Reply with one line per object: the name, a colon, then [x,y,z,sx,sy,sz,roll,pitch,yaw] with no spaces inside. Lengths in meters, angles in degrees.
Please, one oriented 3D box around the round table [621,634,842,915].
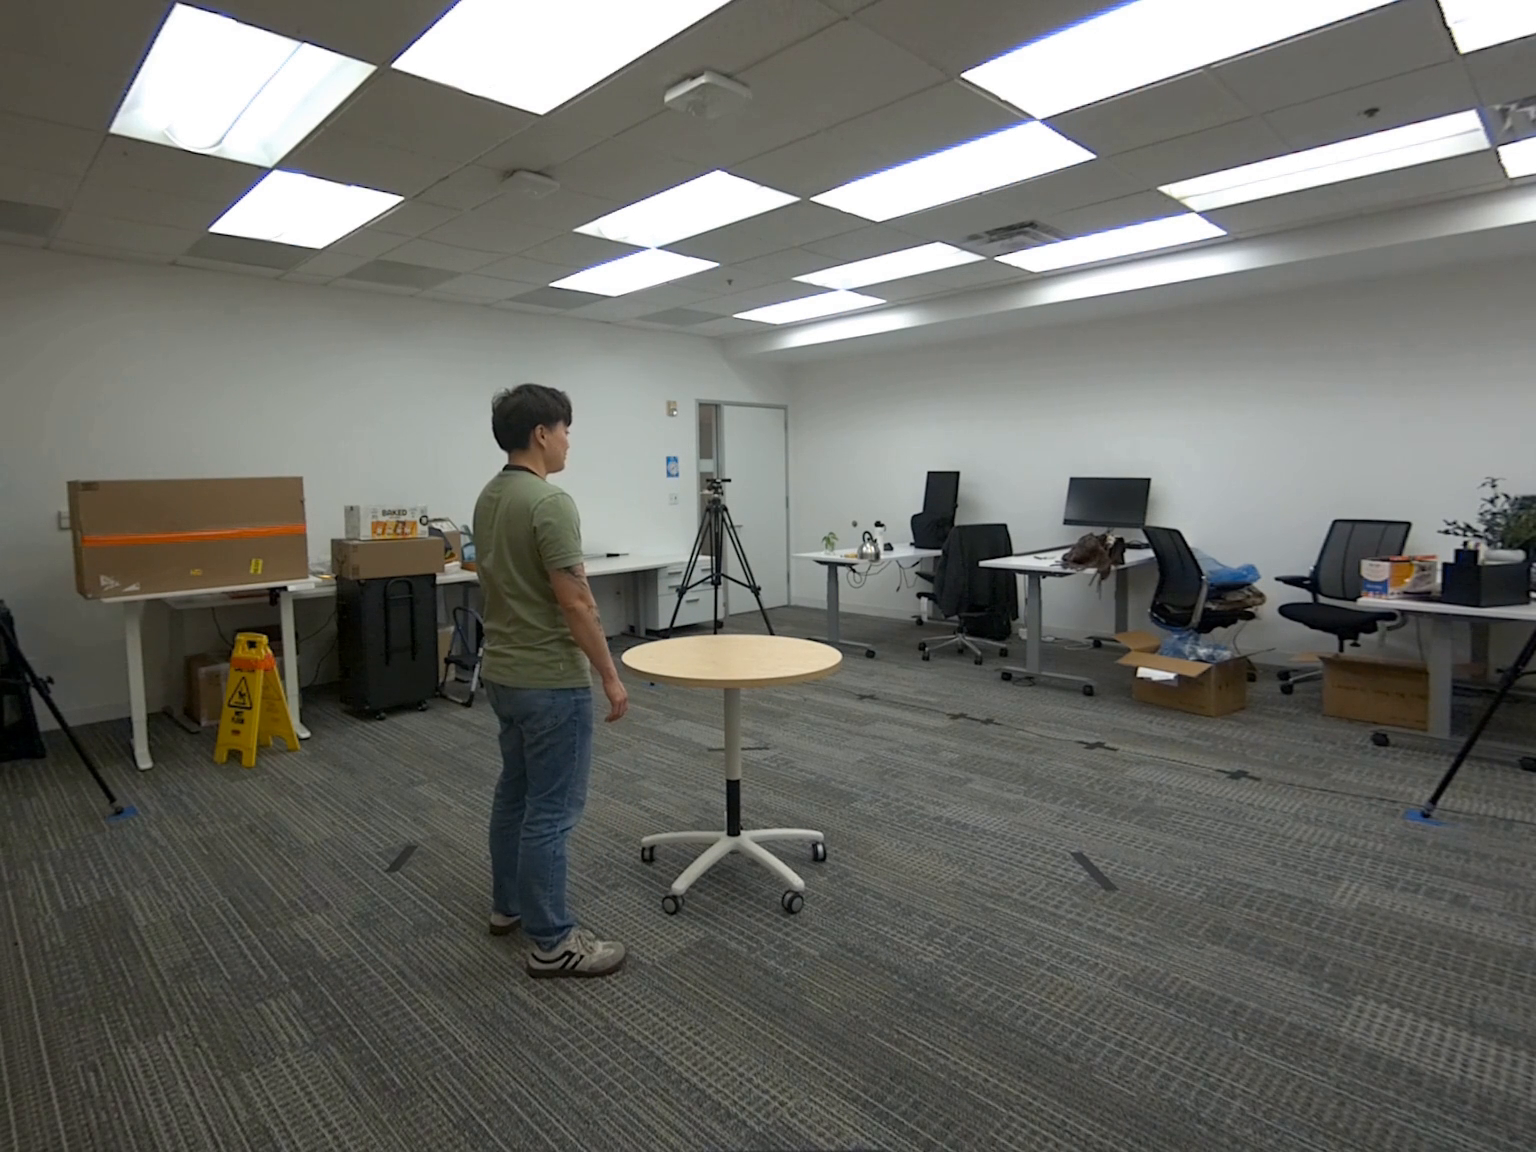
round table: [-0.118,0.666,3.015,0.763,0.791,0.768,-1,5,-2]
